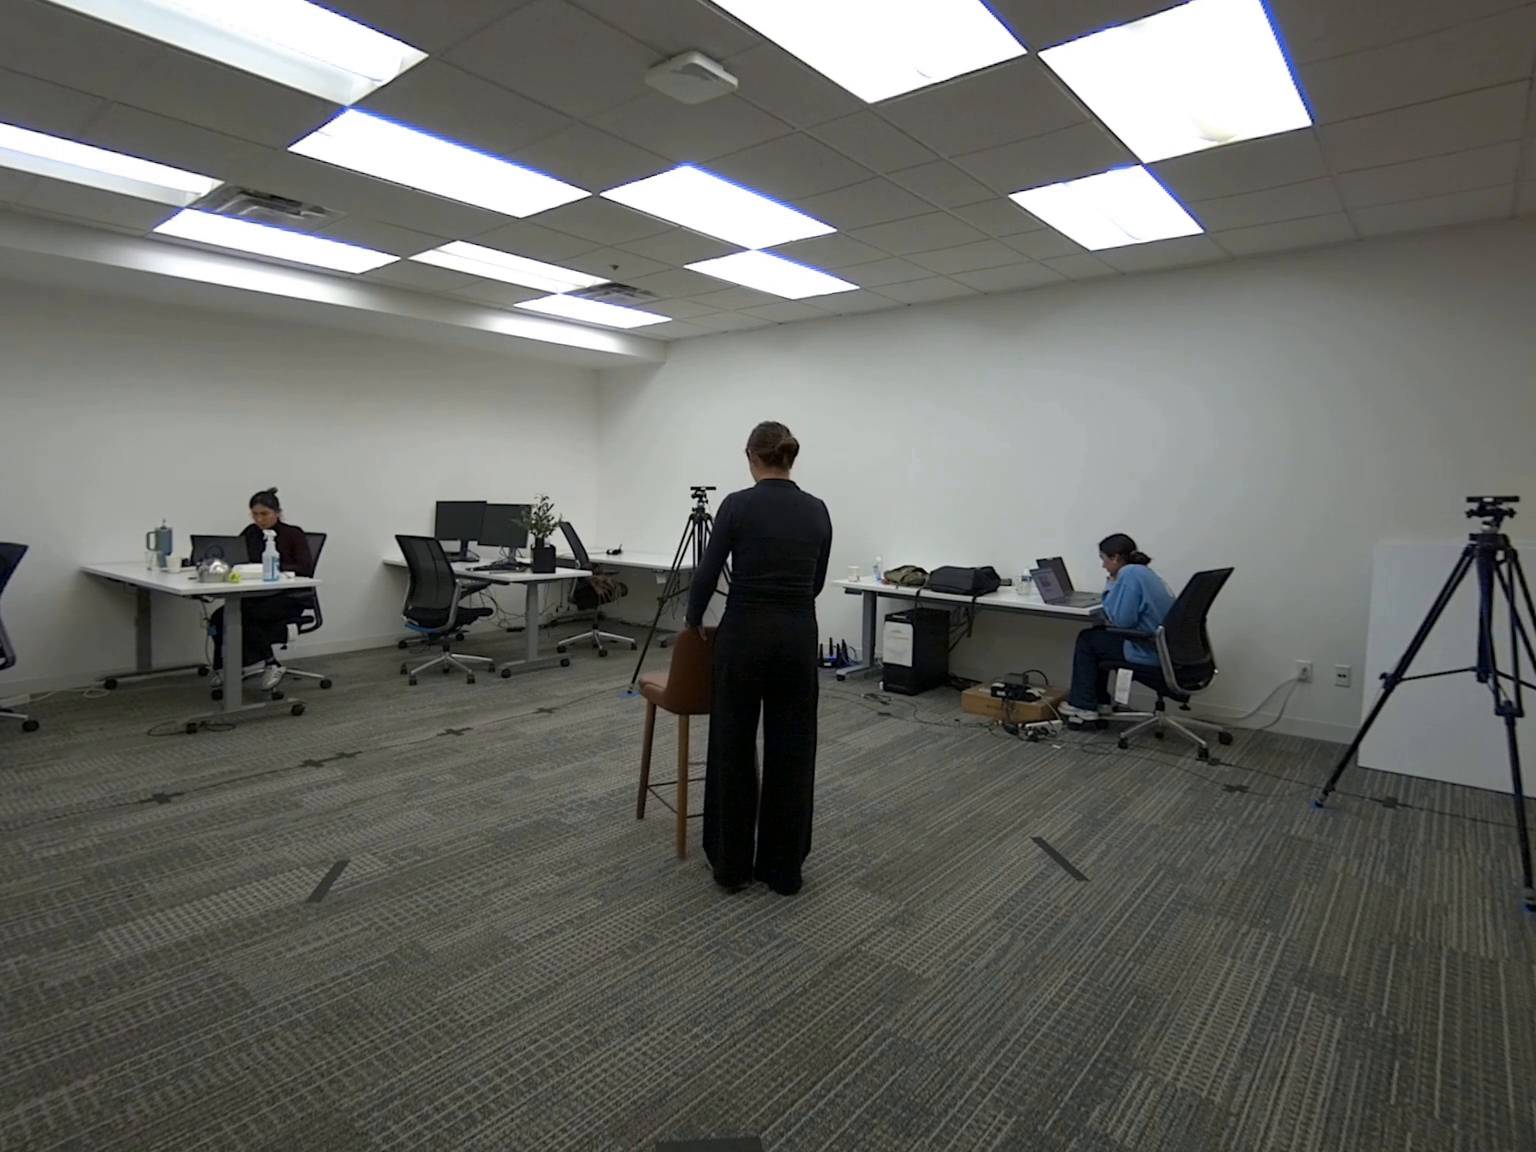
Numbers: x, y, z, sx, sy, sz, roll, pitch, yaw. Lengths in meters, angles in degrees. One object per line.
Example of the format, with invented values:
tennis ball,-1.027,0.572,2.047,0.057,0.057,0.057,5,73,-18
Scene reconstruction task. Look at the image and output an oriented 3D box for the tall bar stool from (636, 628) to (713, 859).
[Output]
tall bar stool,-0.273,0.592,3.421,0.445,0.885,0.481,-1,6,-26
